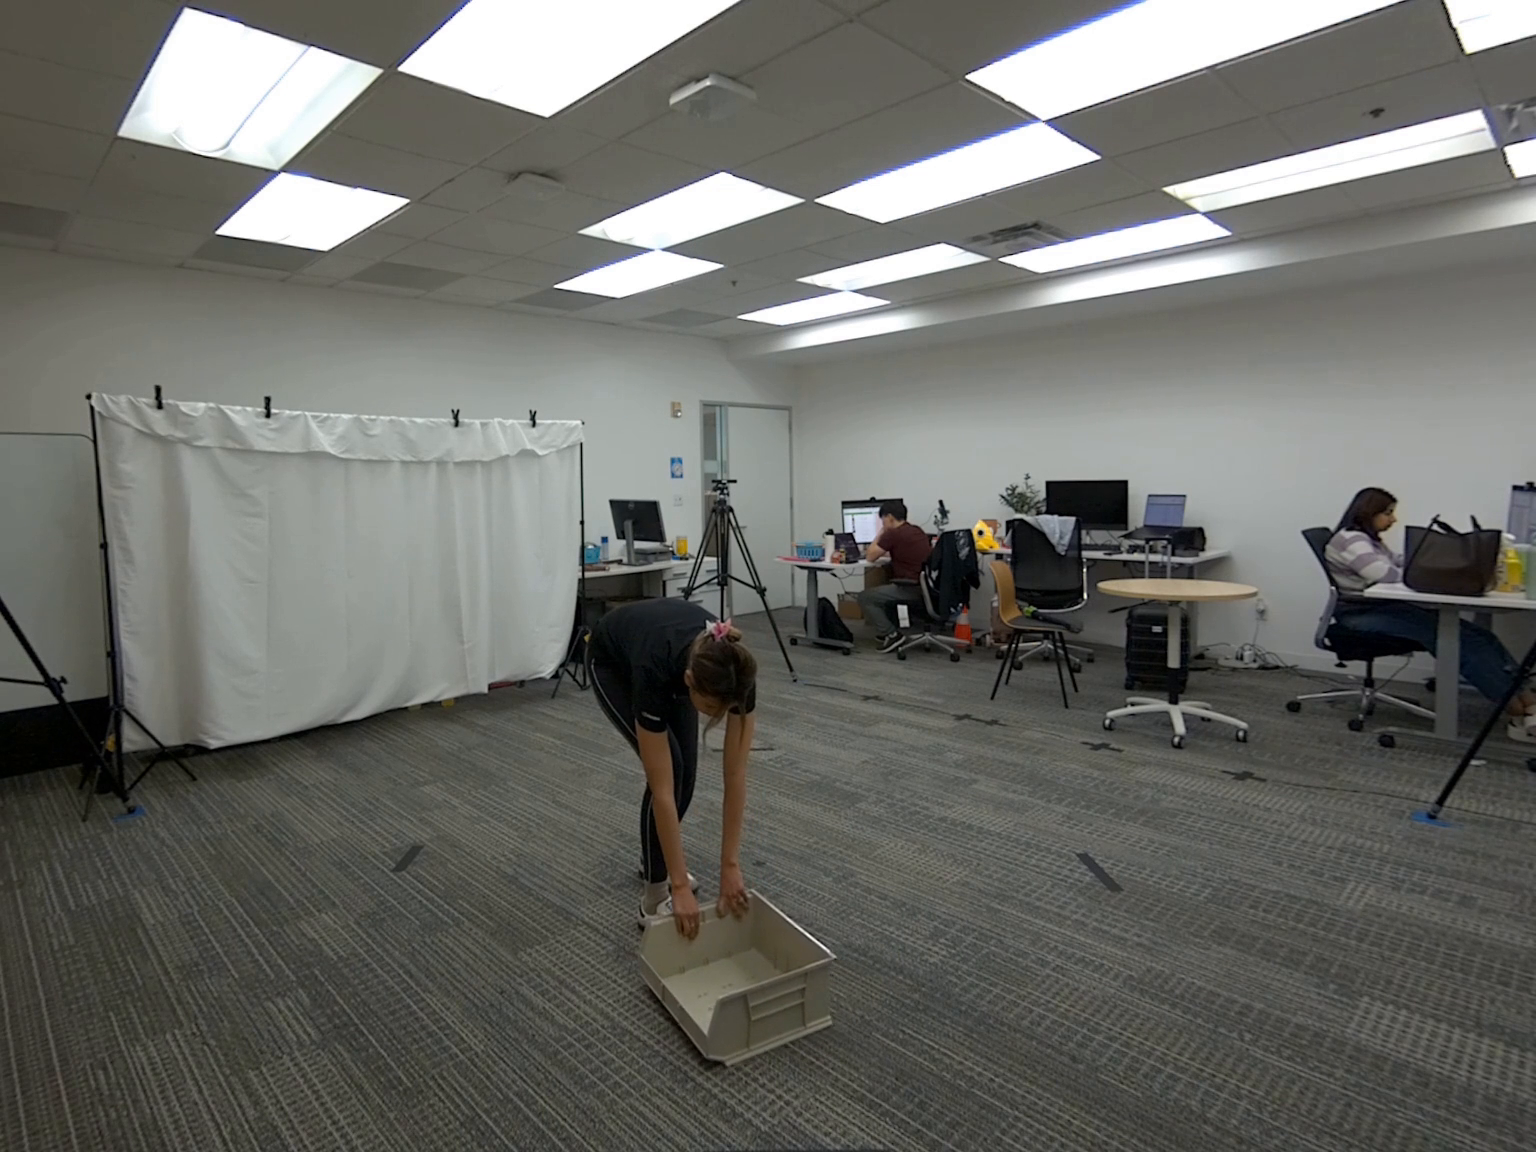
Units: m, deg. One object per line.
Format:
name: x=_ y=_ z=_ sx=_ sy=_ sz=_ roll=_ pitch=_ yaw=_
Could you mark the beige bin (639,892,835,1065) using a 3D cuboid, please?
beige bin: x=-0.085 y=1.057 z=2.273 sx=0.368 sy=0.188 sz=0.434 roll=-3 pitch=5 yaw=-30
